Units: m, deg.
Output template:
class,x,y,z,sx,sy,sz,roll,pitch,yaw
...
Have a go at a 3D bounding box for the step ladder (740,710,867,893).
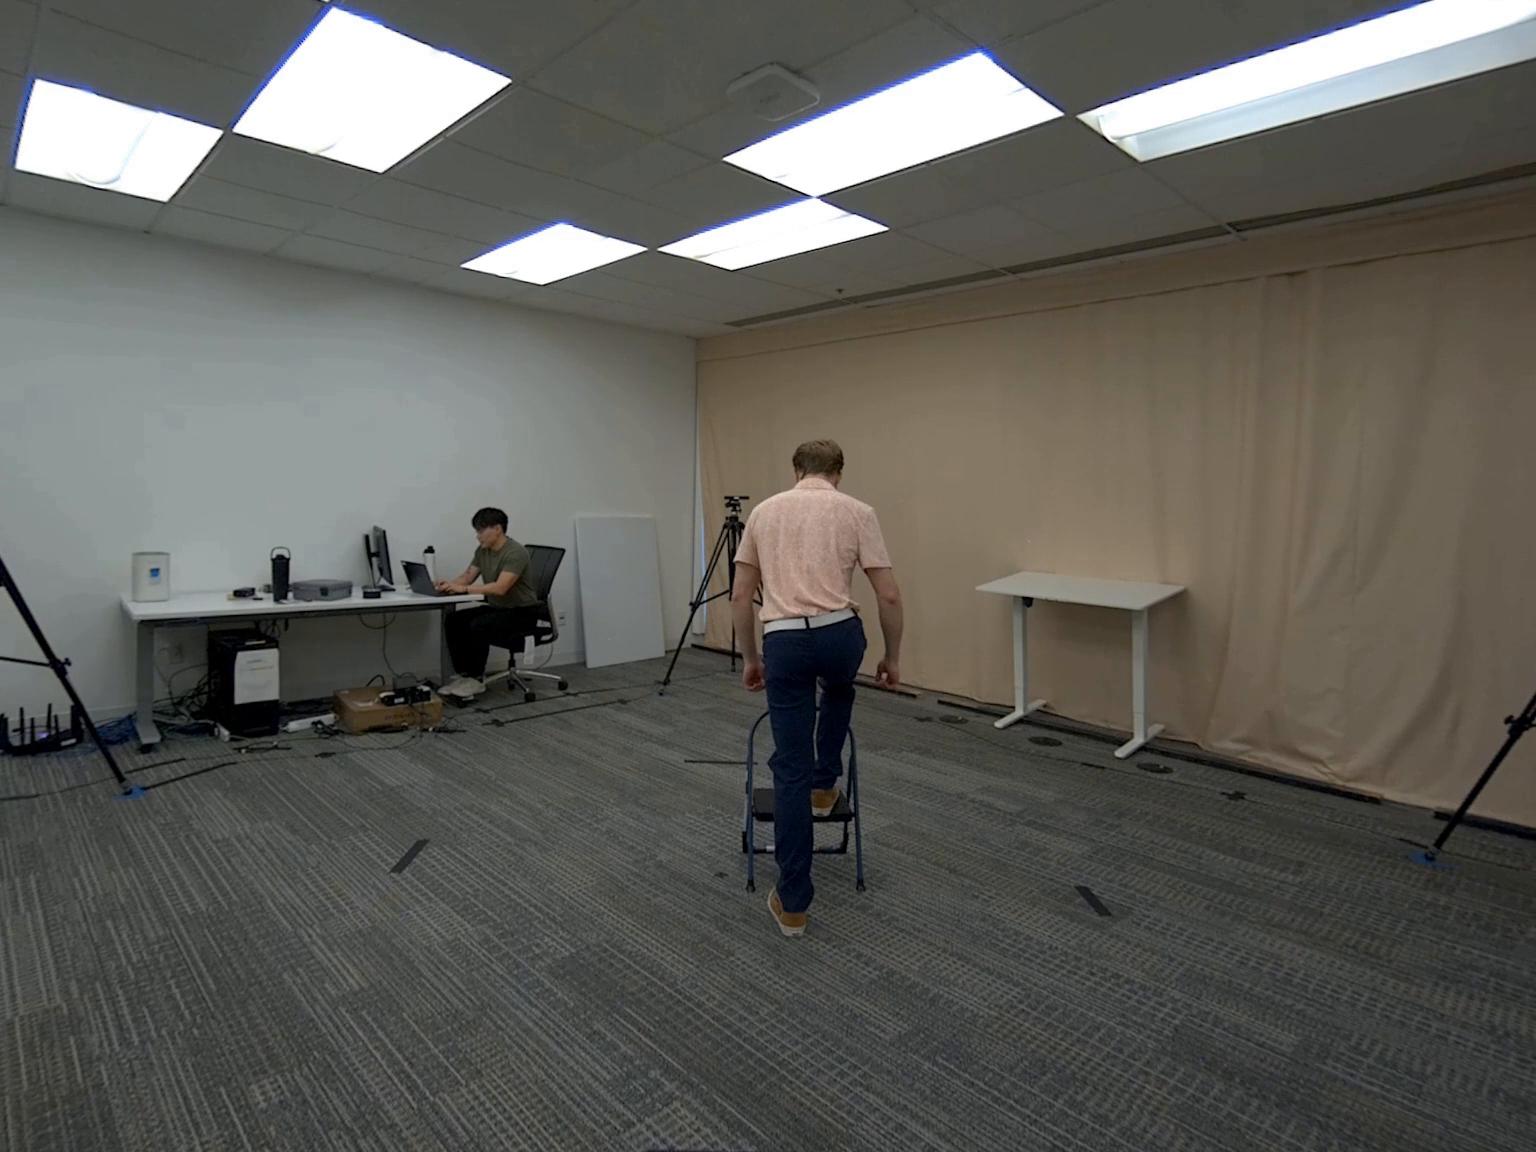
class,x,y,z,sx,sy,sz,roll,pitch,yaw
step ladder,0.121,0.807,3.147,0.429,0.604,0.351,0,3,-5
